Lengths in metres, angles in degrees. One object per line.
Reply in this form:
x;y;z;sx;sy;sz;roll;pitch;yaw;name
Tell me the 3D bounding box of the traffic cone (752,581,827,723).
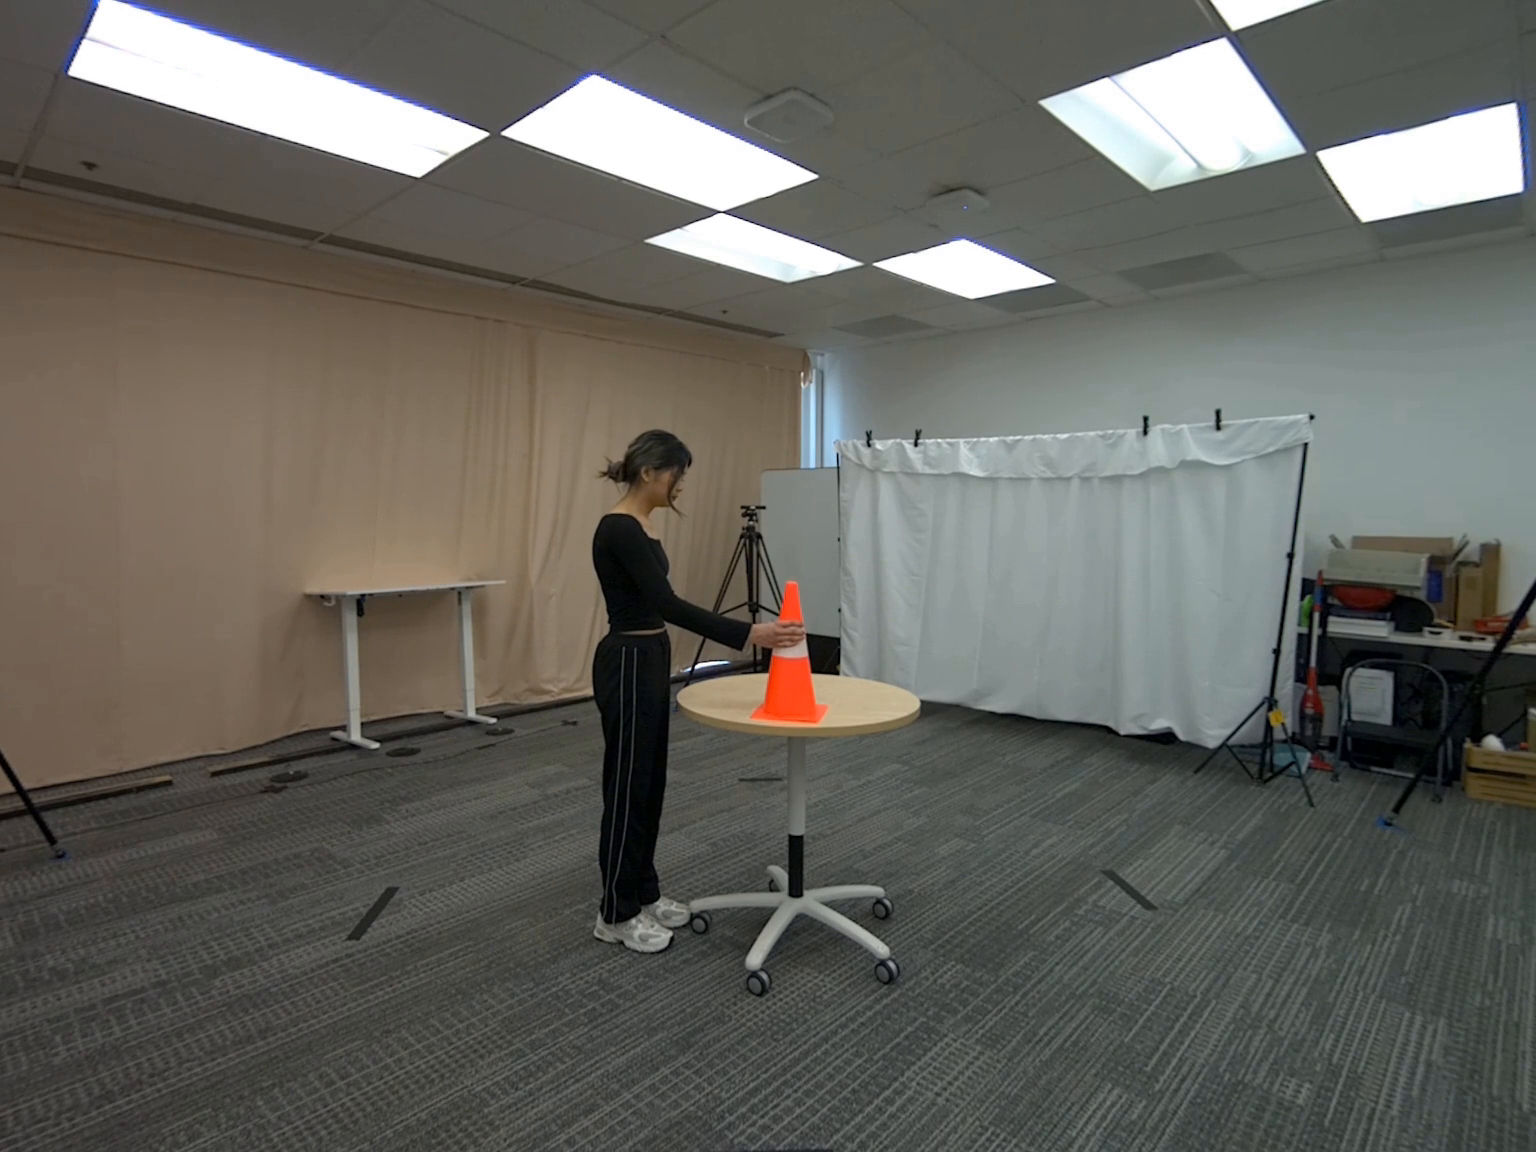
0.066;0.208;2.456;0.206;0.383;0.202;-1;3;14;traffic cone
